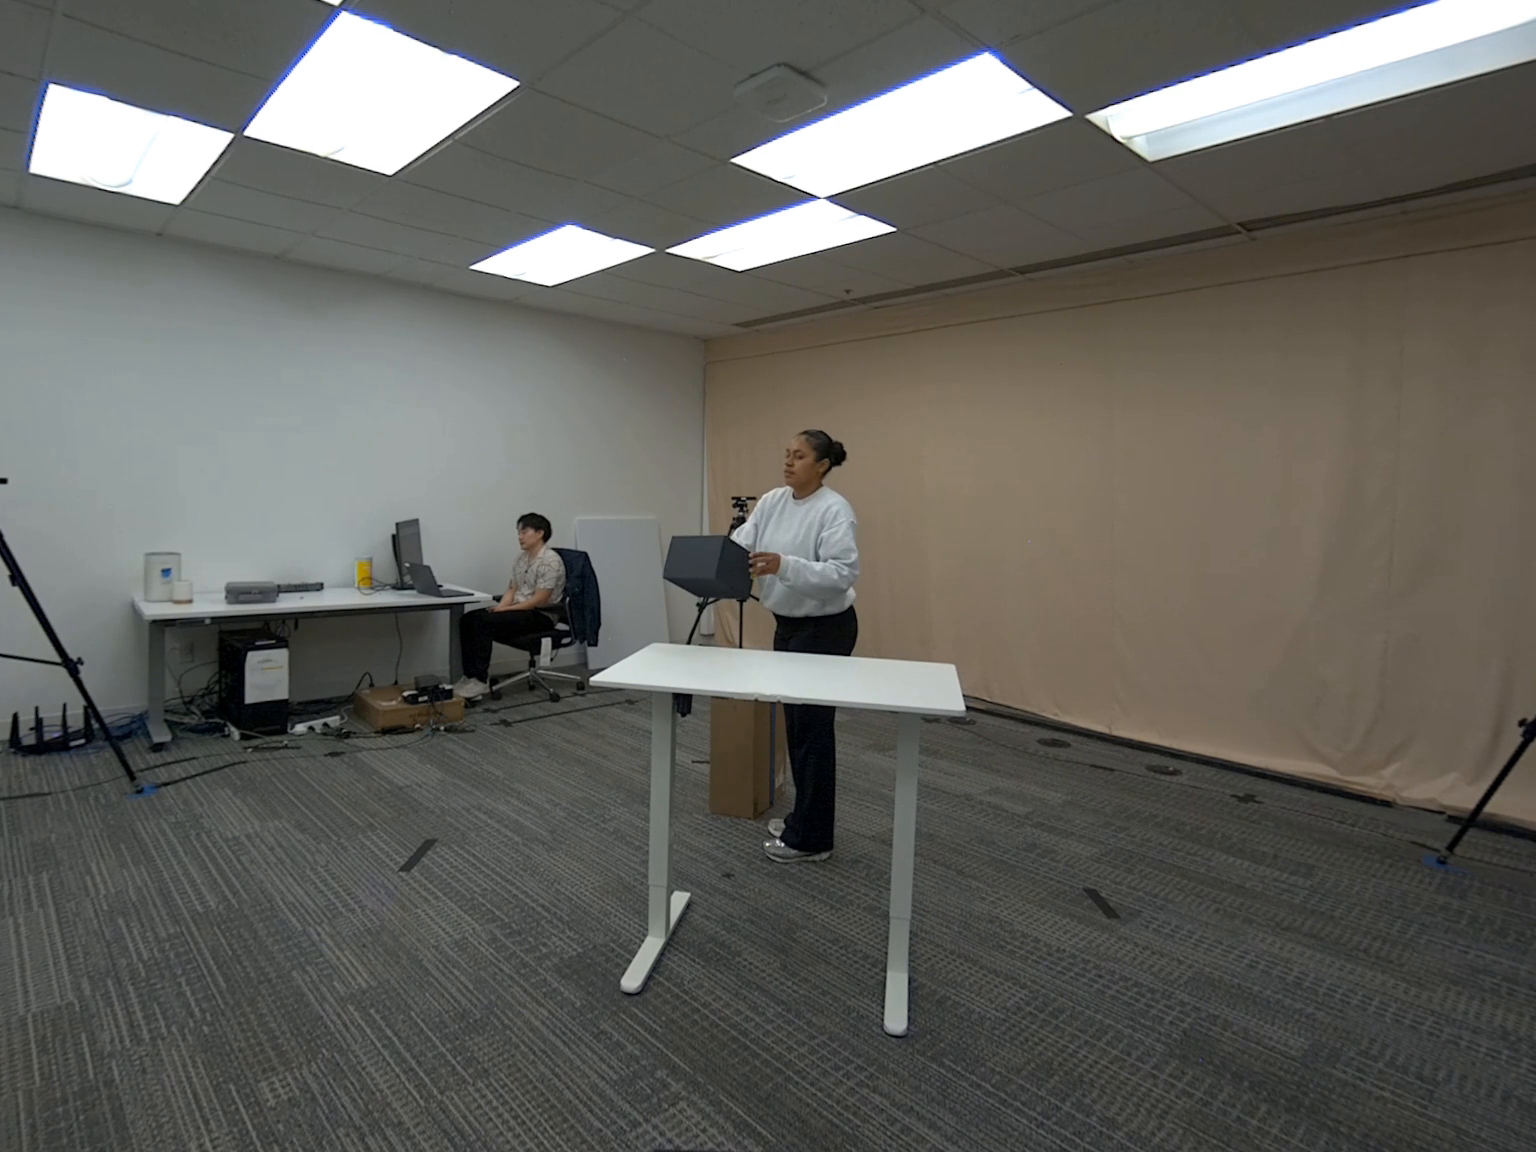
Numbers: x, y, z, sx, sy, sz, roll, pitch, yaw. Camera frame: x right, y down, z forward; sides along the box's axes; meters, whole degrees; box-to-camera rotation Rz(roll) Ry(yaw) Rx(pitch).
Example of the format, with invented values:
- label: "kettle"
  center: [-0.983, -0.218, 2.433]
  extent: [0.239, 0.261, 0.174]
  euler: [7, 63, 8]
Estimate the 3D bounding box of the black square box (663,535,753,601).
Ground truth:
- label: "black square box"
  center: [-0.202, -0.023, 2.897]
  extent: [0.233, 0.157, 0.210]
  euler: [1, -17, 34]
